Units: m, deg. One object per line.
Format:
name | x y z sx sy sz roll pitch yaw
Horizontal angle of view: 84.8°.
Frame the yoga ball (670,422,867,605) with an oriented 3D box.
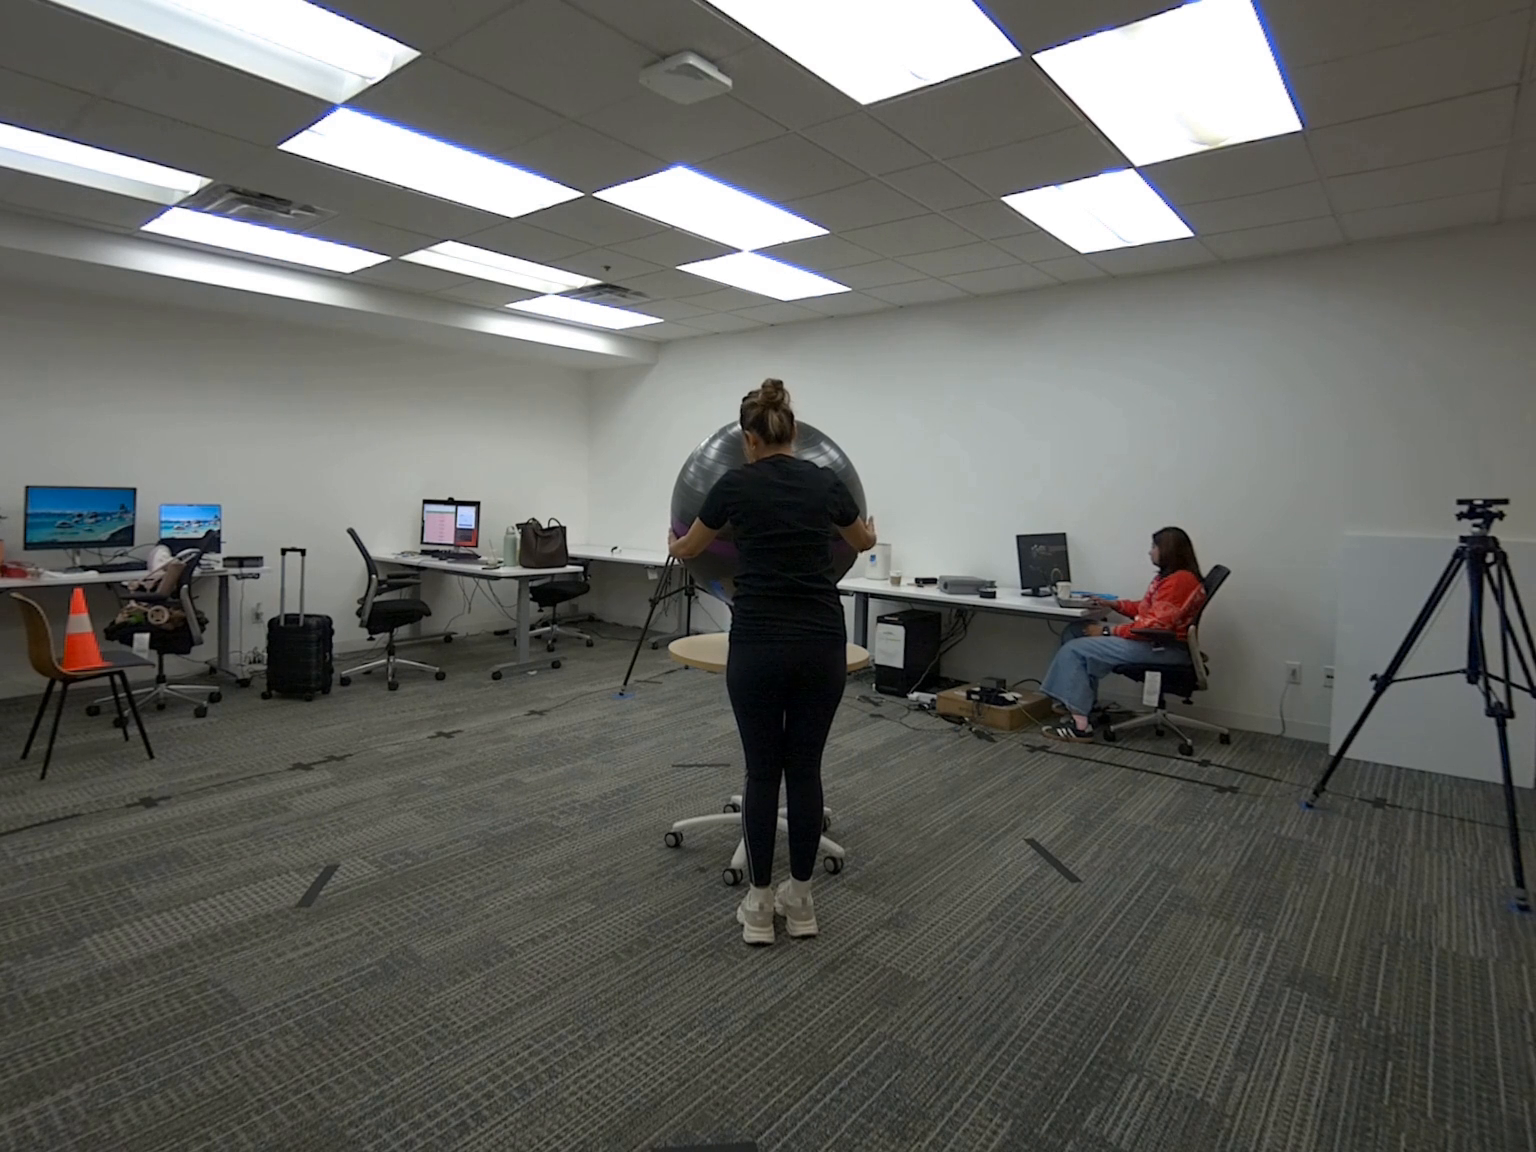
yoga ball | -0.004 -0.238 3.305 0.757 0.756 0.762 1 4 -2
